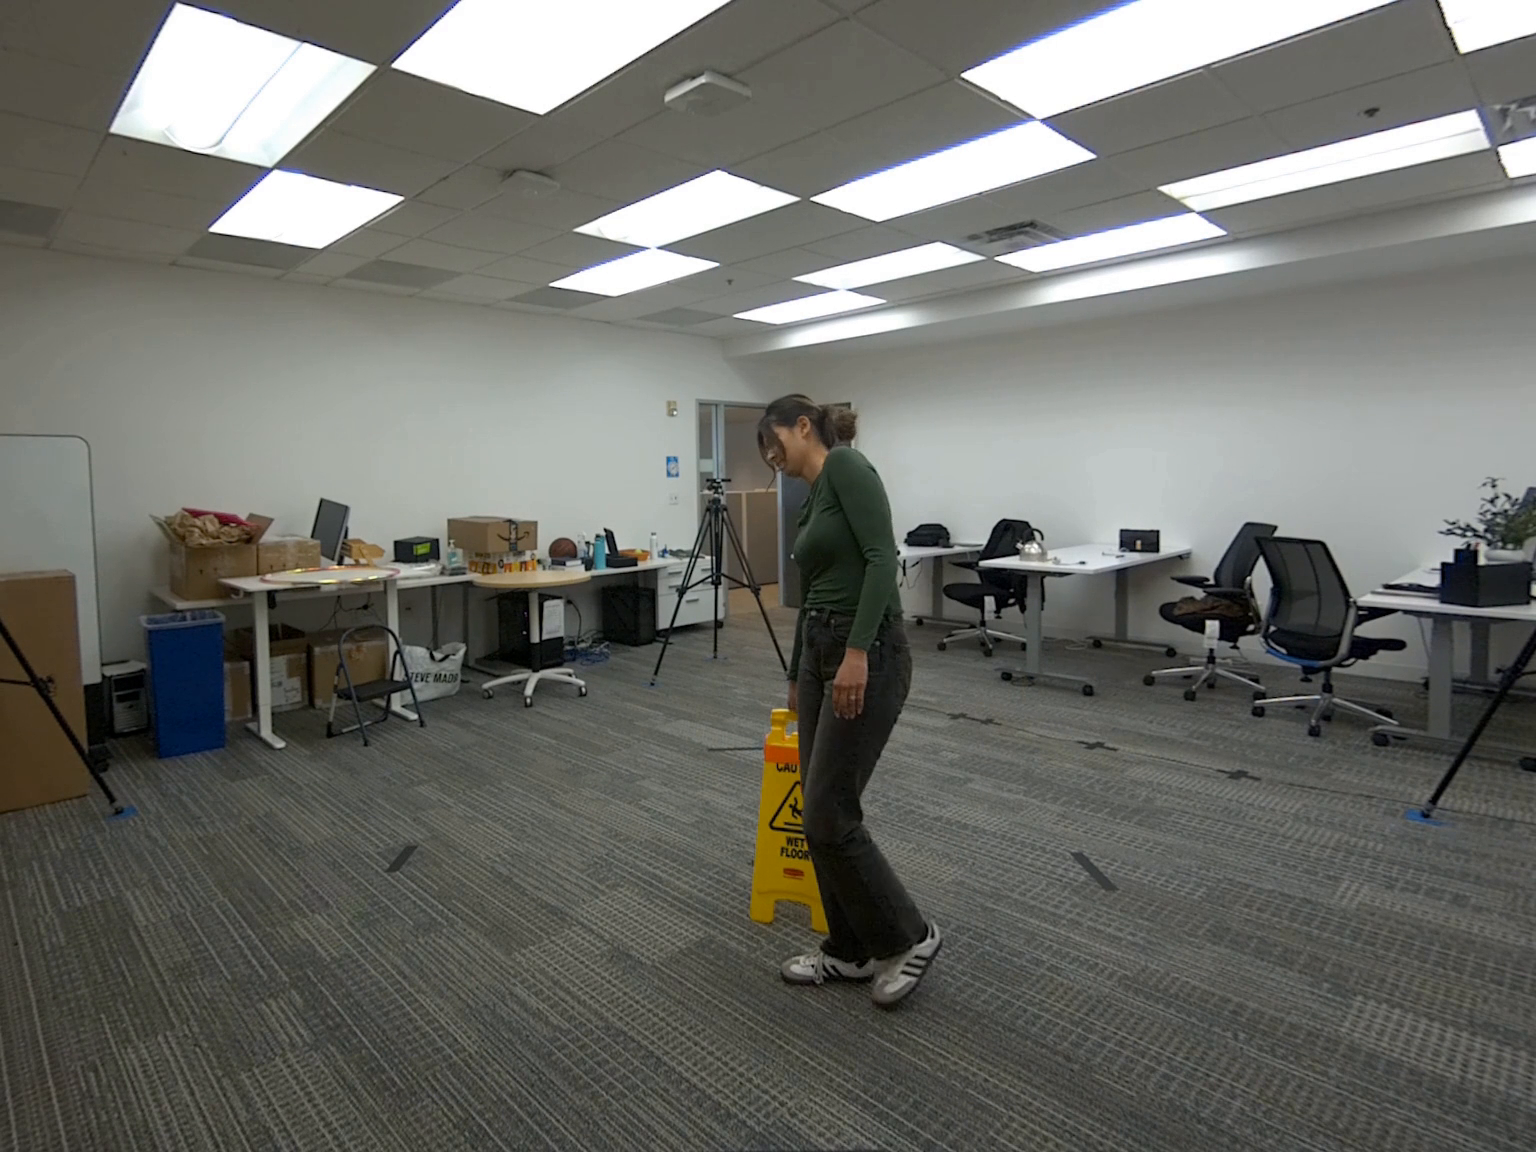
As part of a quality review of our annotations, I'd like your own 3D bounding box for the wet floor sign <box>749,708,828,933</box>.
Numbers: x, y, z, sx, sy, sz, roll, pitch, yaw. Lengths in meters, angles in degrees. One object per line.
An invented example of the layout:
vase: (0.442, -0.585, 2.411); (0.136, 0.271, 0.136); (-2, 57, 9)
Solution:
wet floor sign: (0.118, 0.757, 2.781); (0.288, 0.644, 0.285); (2, 4, 20)
